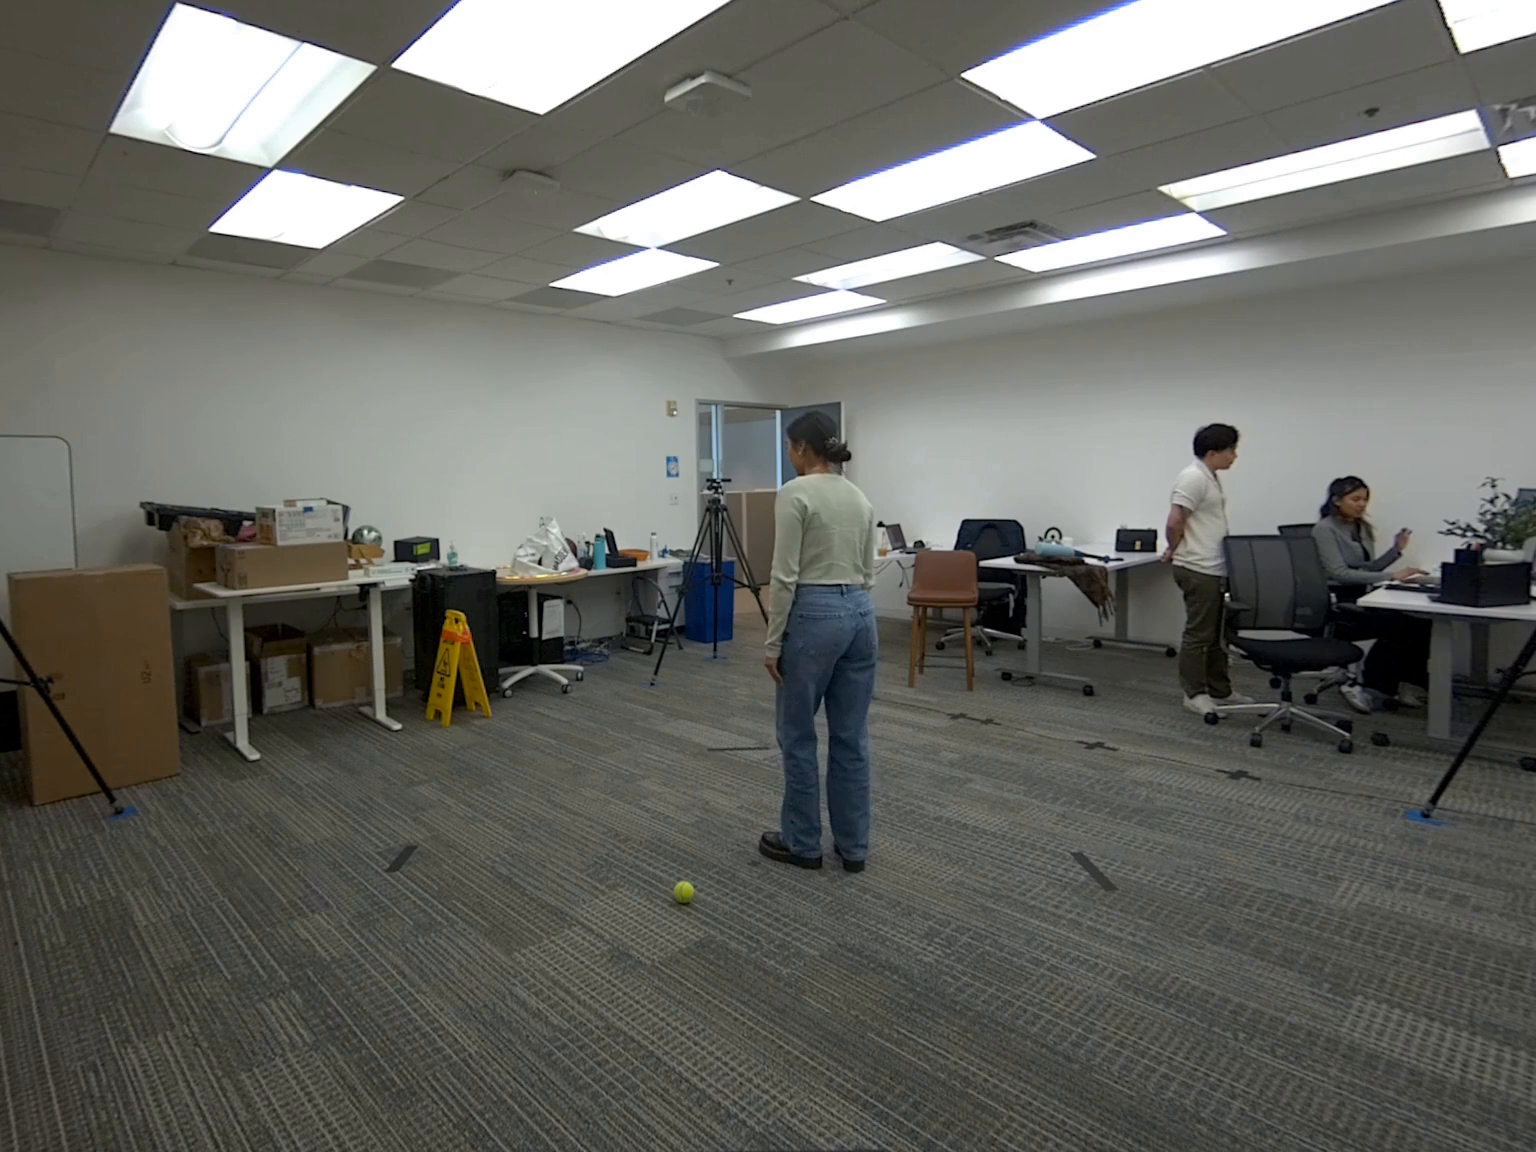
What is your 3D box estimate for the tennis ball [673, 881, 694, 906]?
[{"bbox_3d":[-0.270,1.035,2.818,0.066,0.066,0.067,-1,5,-2],"label":"tennis ball"}]
